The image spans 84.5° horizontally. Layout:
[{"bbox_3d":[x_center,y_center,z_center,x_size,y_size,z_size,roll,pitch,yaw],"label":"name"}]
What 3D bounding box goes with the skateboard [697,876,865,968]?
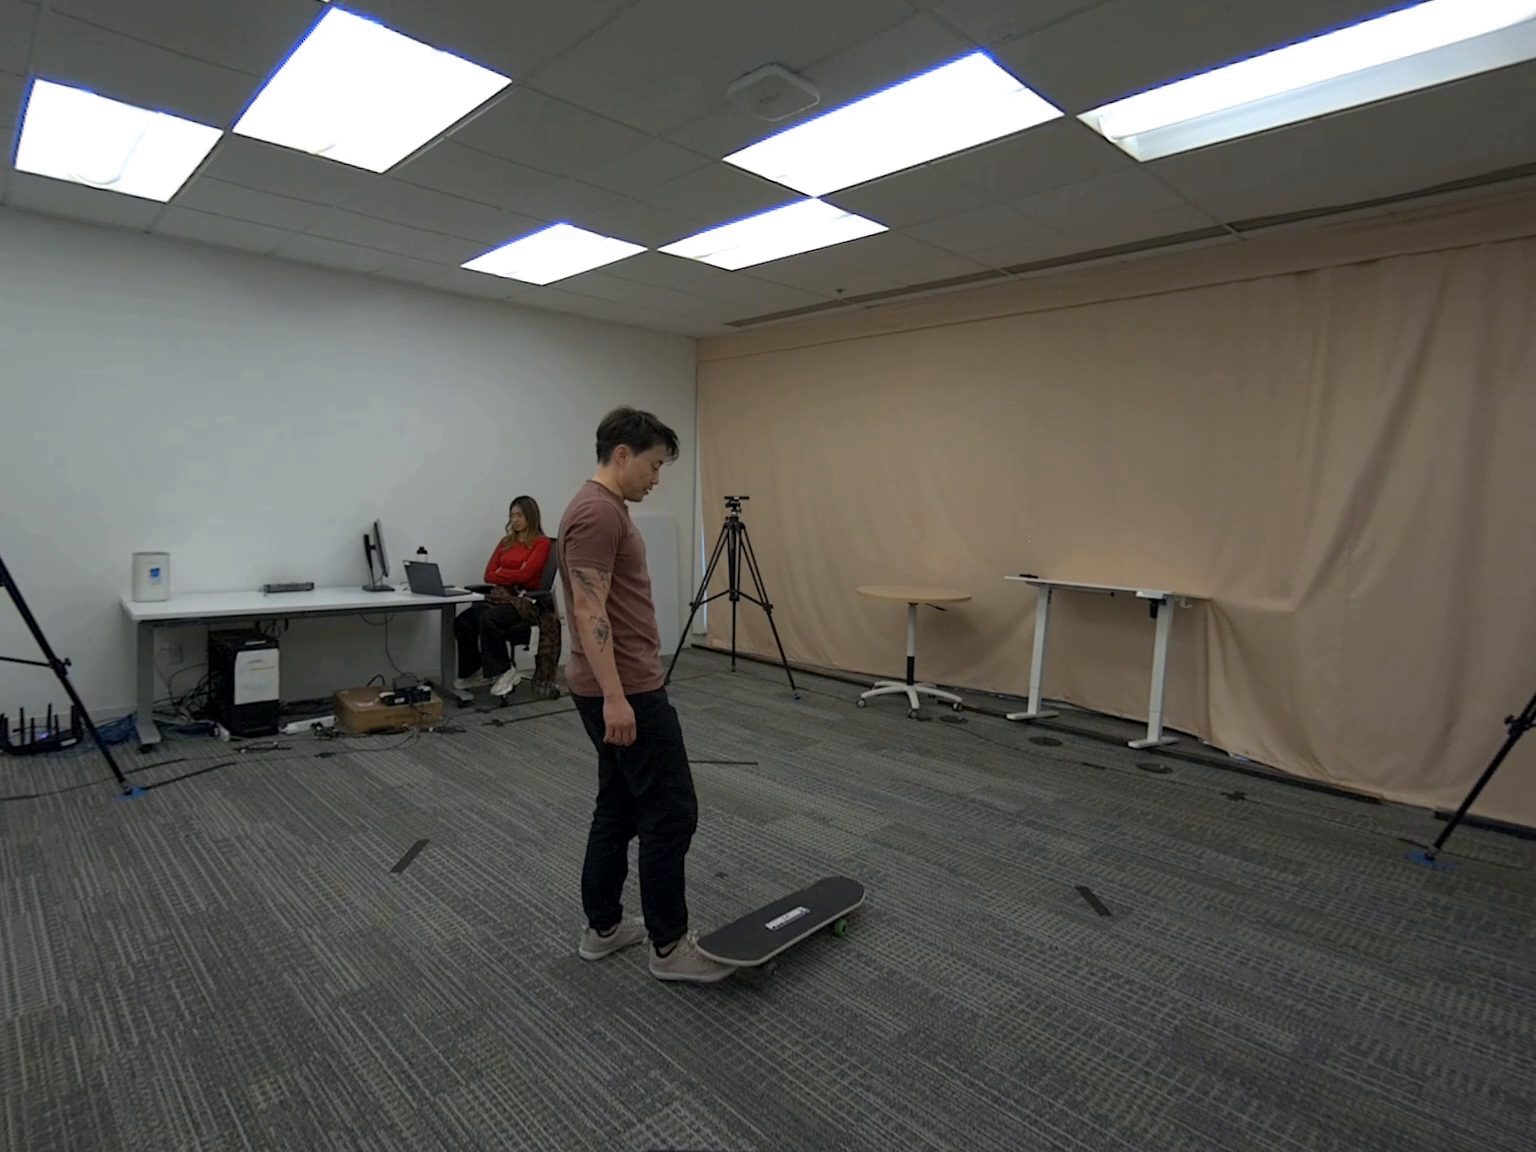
[{"bbox_3d":[0.054,1.083,2.574,0.198,0.110,0.767,5,2,35],"label":"skateboard"}]
